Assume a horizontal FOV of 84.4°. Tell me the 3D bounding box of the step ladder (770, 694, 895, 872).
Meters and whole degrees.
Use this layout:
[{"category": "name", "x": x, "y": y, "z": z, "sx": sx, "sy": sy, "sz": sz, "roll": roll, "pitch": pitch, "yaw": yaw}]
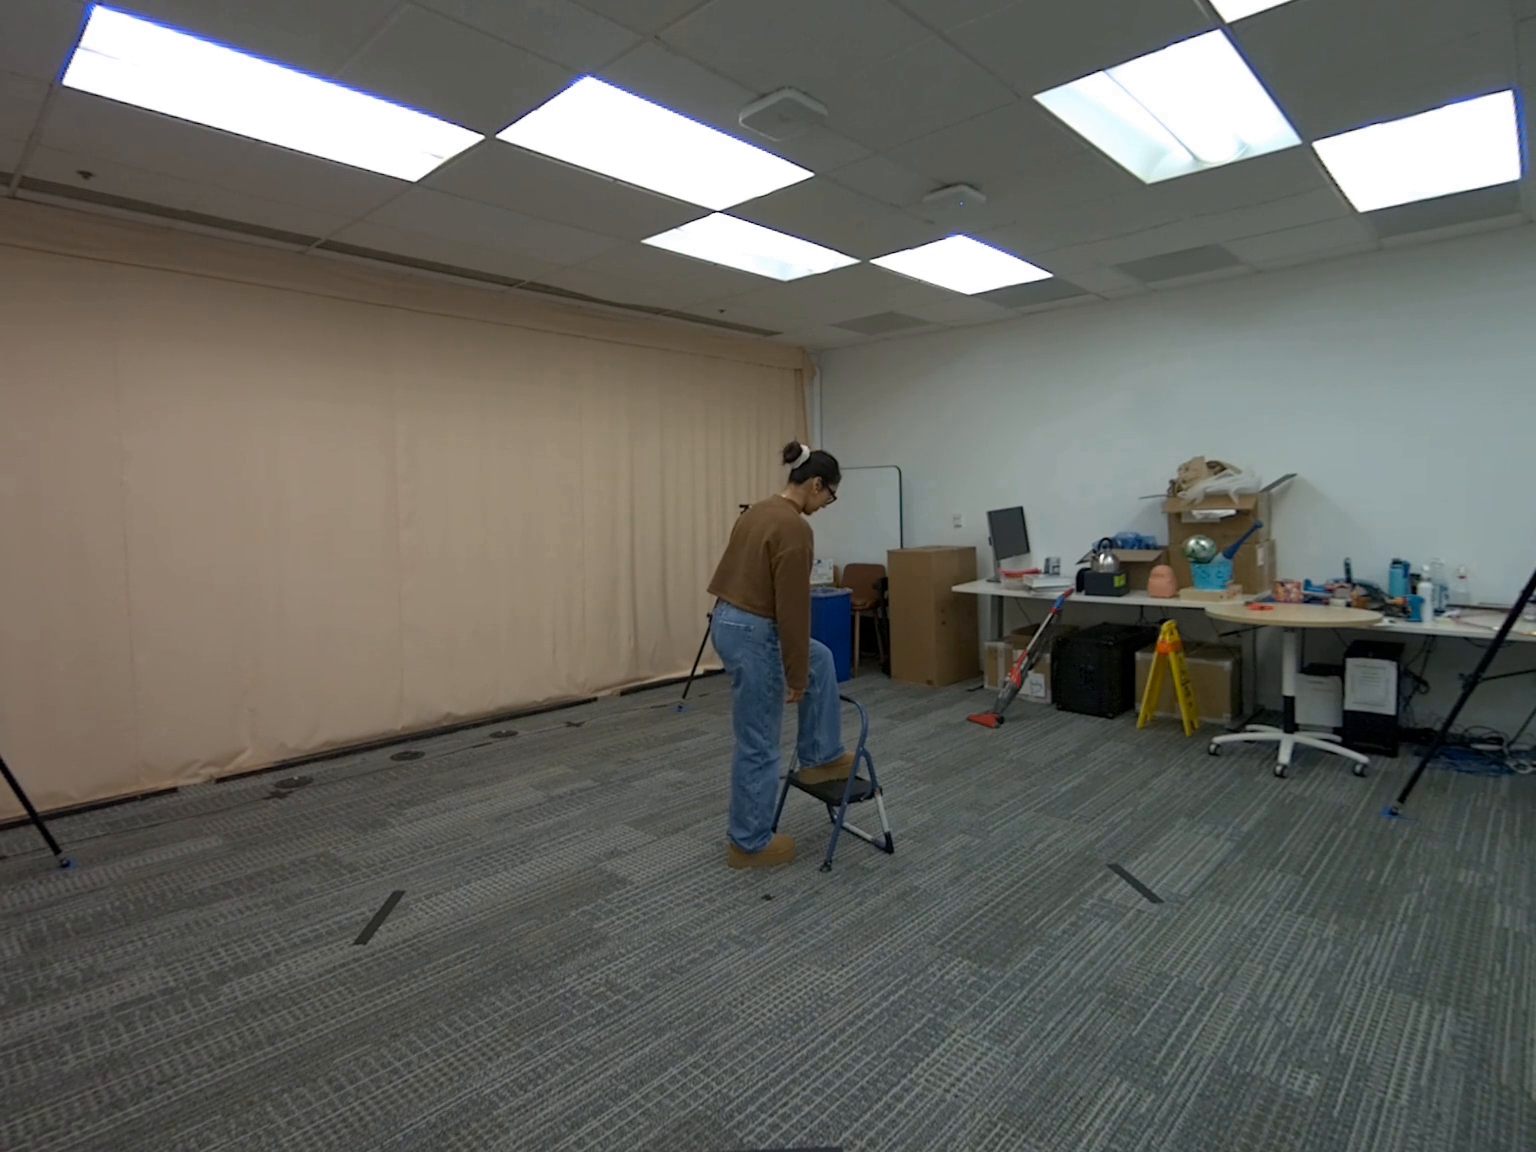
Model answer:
[{"category": "step ladder", "x": 0.252, "y": 0.795, "z": 3.427, "sx": 0.340, "sy": 0.605, "sz": 0.443, "roll": -3, "pitch": 4, "yaw": -30}]
